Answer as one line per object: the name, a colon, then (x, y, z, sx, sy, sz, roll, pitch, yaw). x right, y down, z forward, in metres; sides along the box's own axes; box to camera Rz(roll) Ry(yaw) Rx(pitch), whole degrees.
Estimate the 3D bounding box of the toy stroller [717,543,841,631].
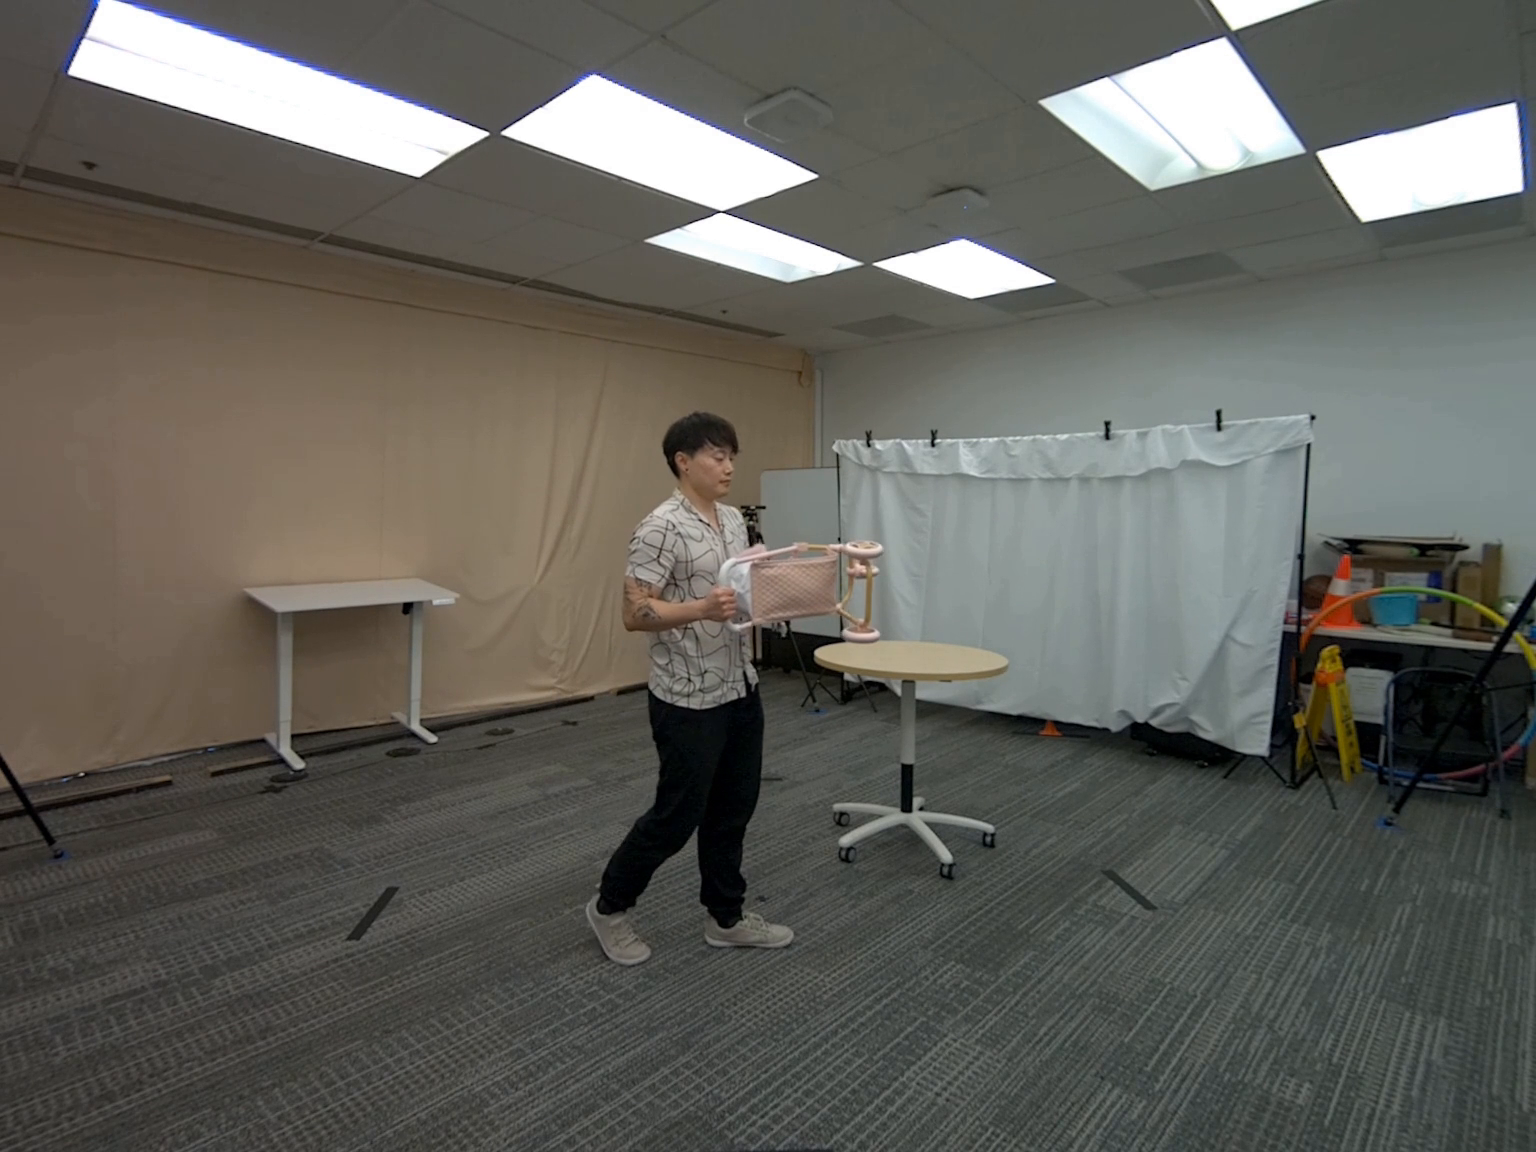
toy stroller: (0.096, 0.022, 2.455, 0.531, 0.279, 0.347, -1, 16, -8)
